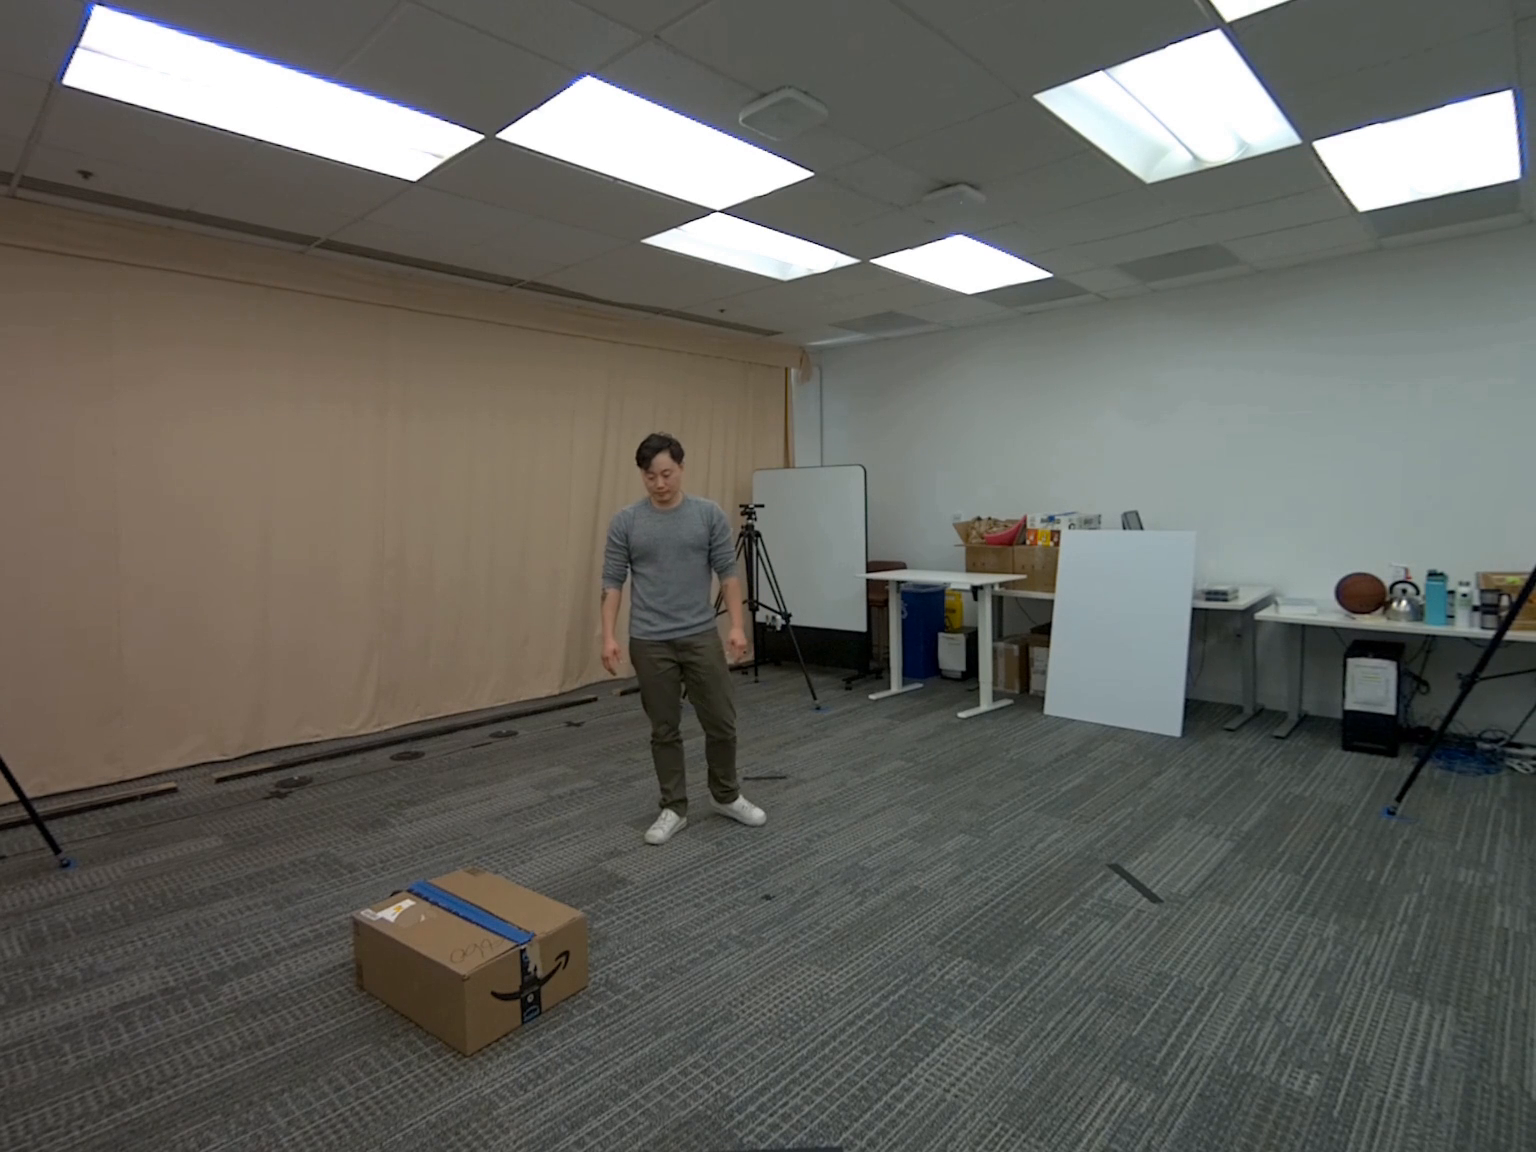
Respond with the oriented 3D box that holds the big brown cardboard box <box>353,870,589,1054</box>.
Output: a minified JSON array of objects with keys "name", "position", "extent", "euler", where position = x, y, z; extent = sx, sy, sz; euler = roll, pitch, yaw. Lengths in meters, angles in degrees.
[{"name":"big brown cardboard box","position":[-0.881,1.094,2.467],"extent":[0.608,0.232,0.405],"euler":[3,6,37]}]
